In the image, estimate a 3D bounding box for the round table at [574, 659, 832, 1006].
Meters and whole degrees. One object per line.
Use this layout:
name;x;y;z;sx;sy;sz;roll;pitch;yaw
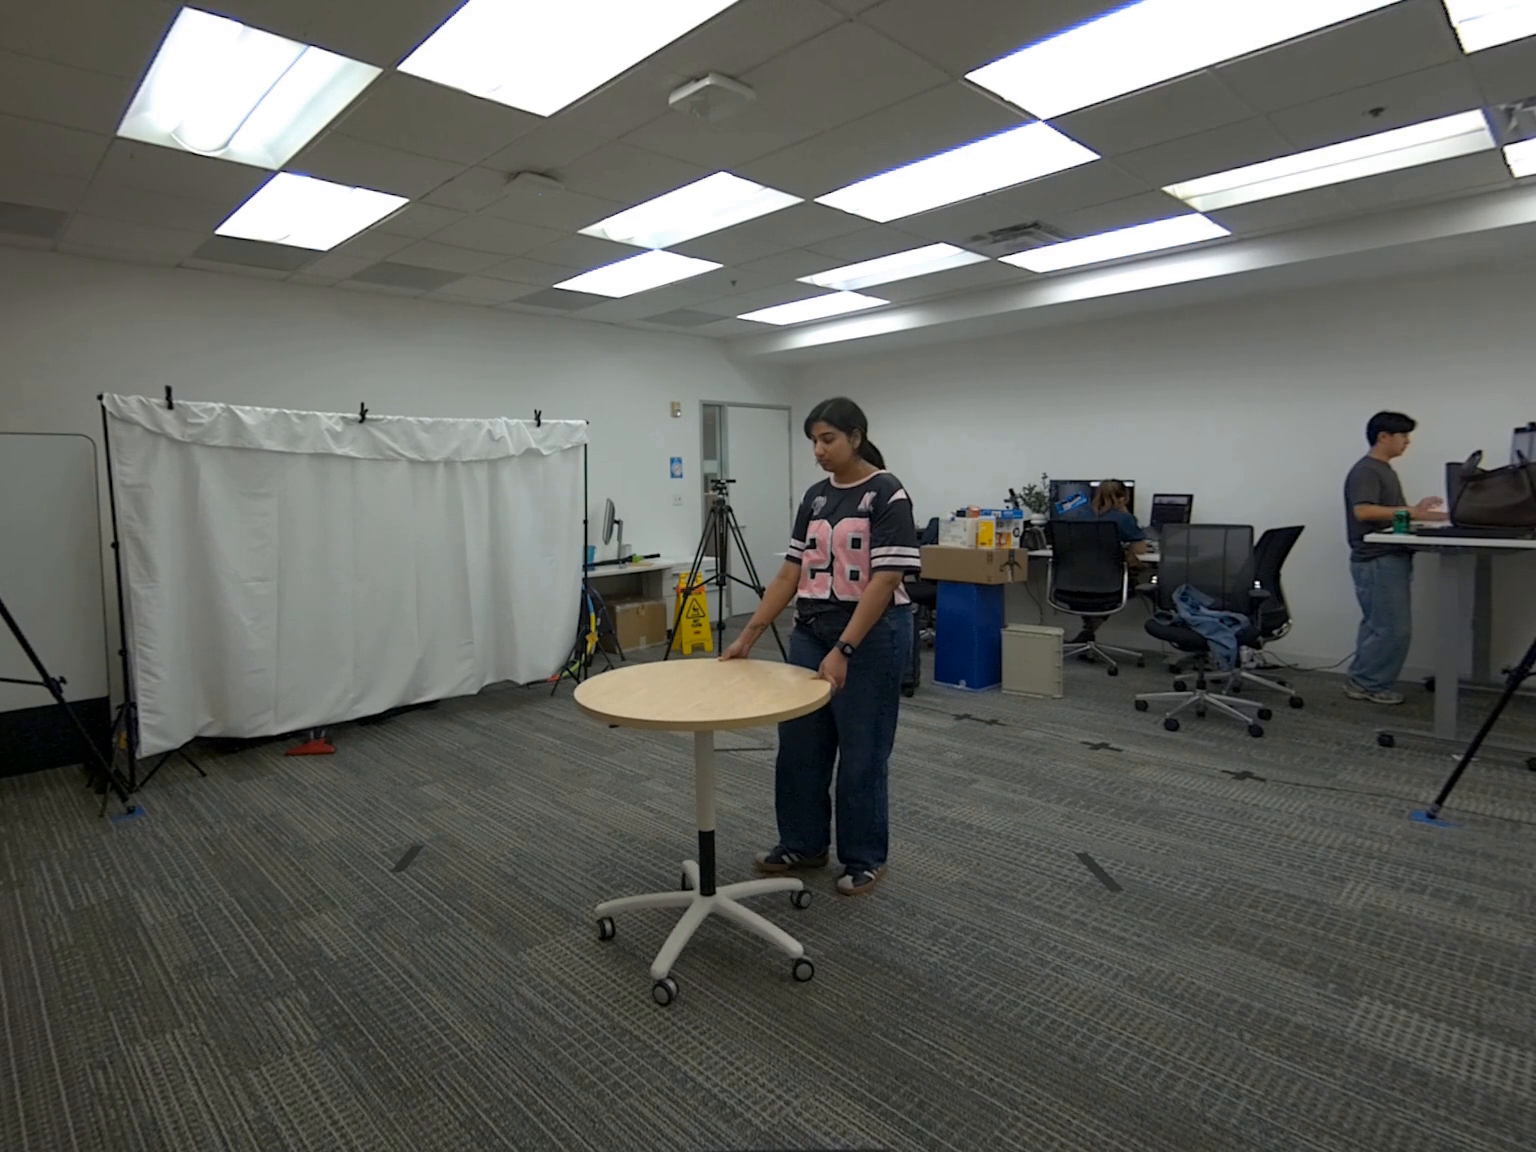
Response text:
round table;-0.168;0.713;2.592;0.785;0.783;0.789;-2;5;-1
